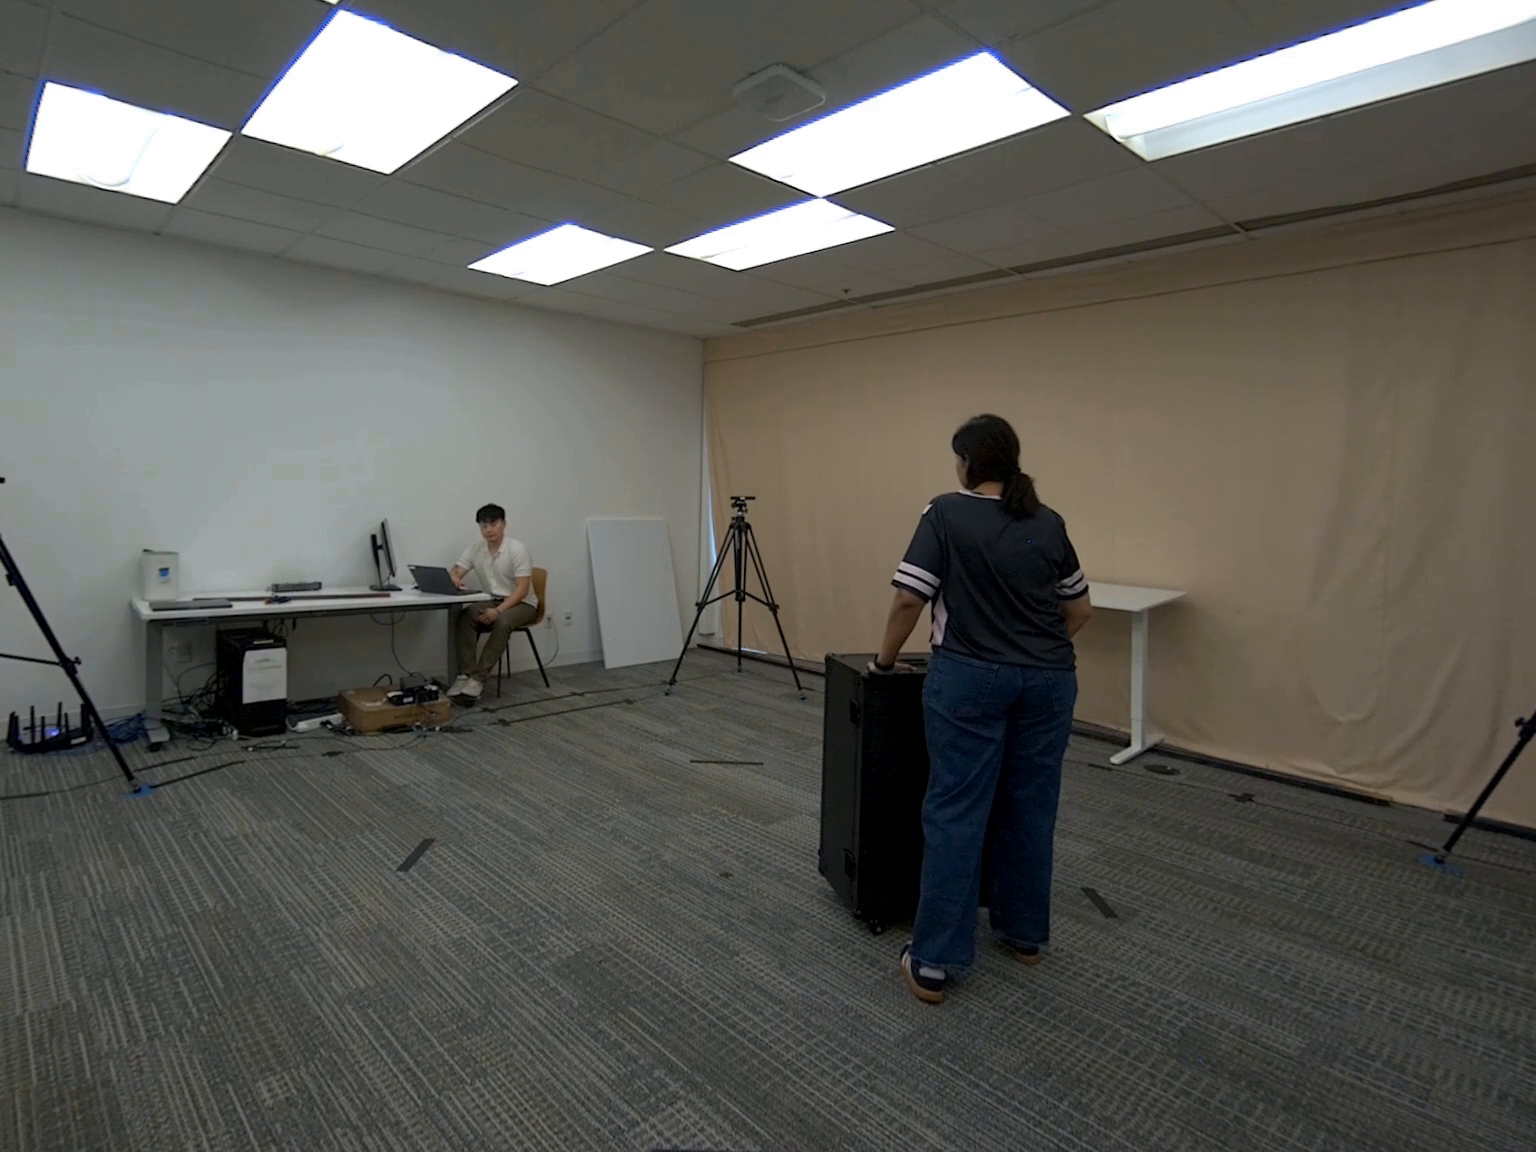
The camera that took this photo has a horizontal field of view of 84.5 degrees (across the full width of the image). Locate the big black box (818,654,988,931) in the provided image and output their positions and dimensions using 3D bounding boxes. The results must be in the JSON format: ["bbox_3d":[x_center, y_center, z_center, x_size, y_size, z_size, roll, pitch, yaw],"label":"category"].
[{"bbox_3d":[0.460,0.719,2.869,0.517,0.867,0.391,1,3,-15],"label":"big black box"}]
